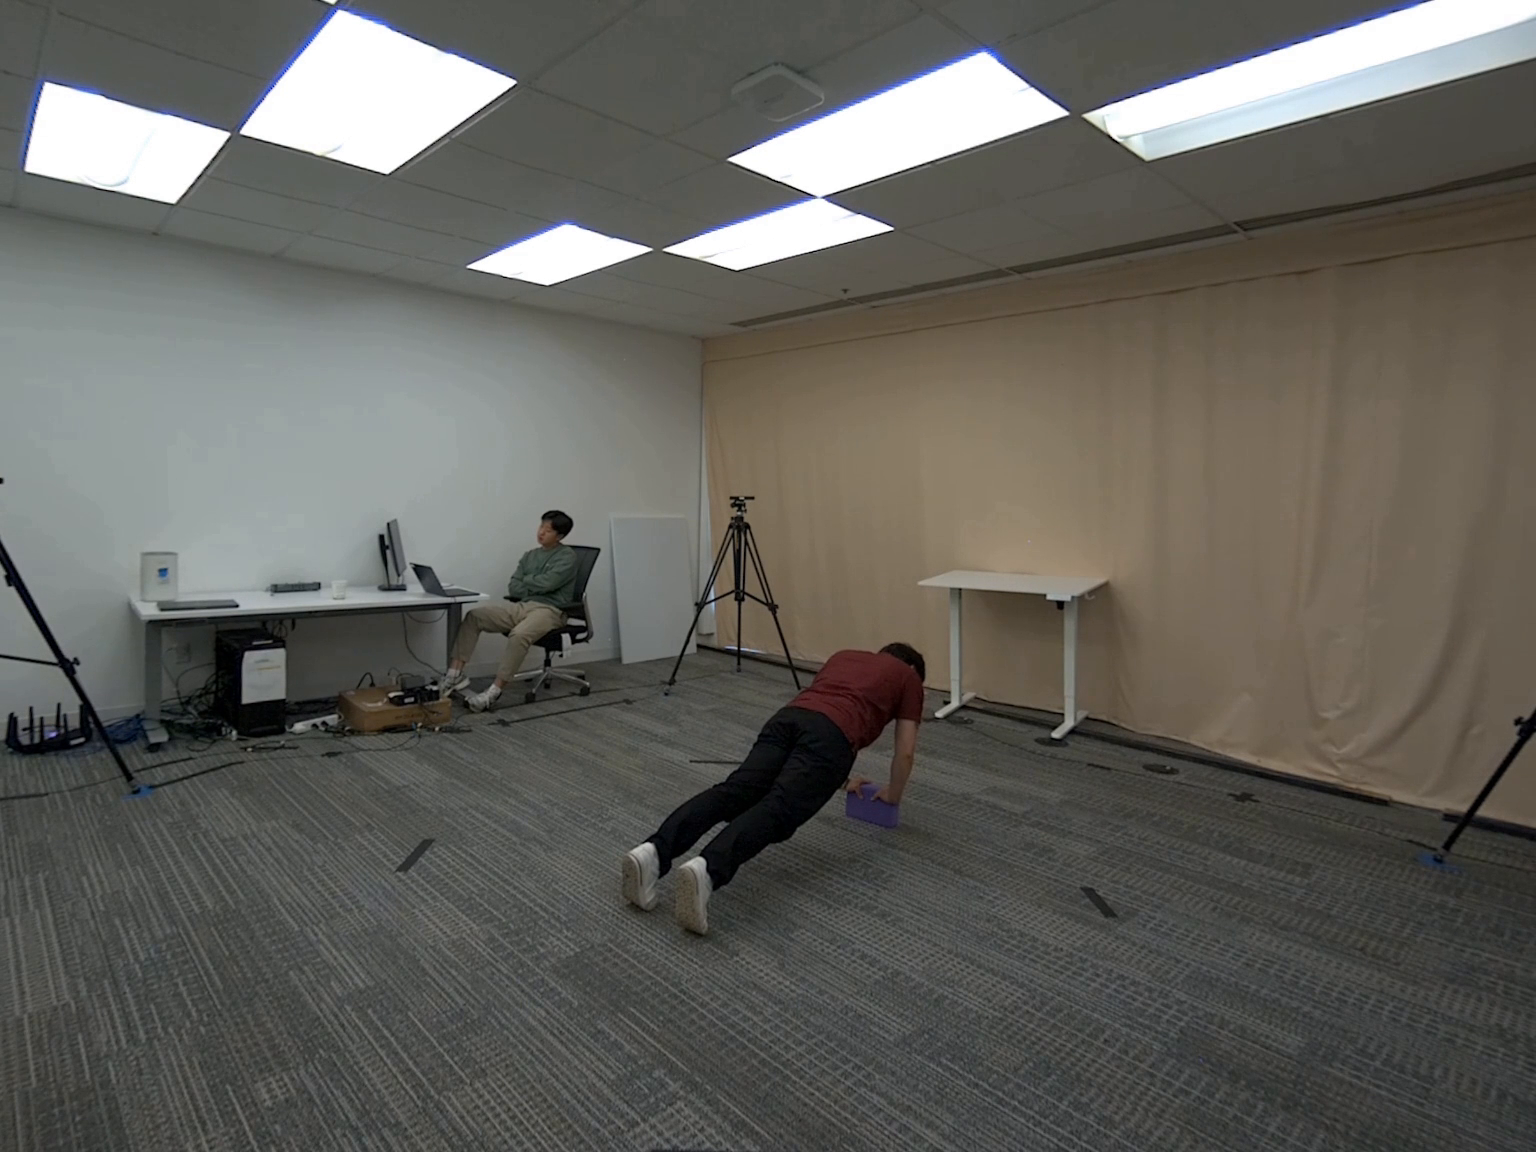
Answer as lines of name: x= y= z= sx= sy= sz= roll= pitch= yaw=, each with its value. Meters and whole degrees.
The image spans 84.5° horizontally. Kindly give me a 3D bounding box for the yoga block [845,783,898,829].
yoga block: x=0.444 y=0.998 z=3.693 sx=0.235 sy=0.149 sz=0.074 roll=5 pitch=-1 yaw=39
